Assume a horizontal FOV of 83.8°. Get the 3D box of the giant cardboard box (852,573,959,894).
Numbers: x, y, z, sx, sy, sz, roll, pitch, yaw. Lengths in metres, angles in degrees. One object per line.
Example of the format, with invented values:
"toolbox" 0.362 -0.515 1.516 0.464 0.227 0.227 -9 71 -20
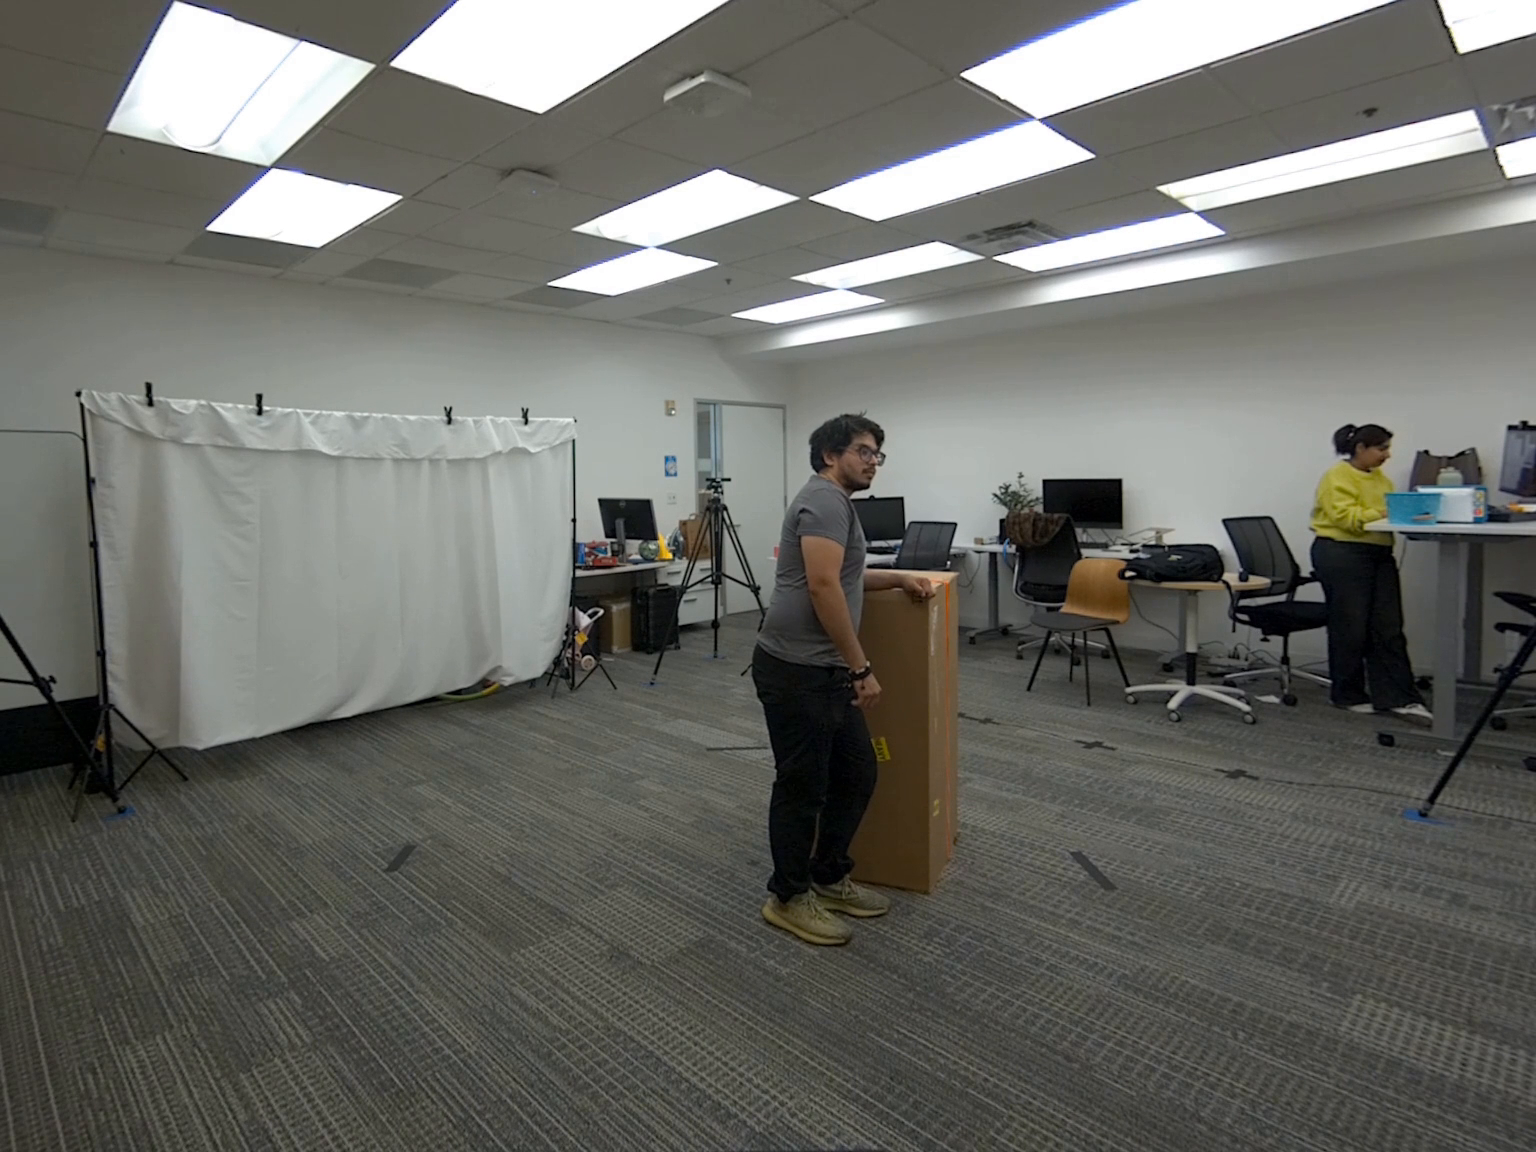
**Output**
"giant cardboard box" 0.454 0.519 3.165 0.436 1.022 0.567 1 4 24
